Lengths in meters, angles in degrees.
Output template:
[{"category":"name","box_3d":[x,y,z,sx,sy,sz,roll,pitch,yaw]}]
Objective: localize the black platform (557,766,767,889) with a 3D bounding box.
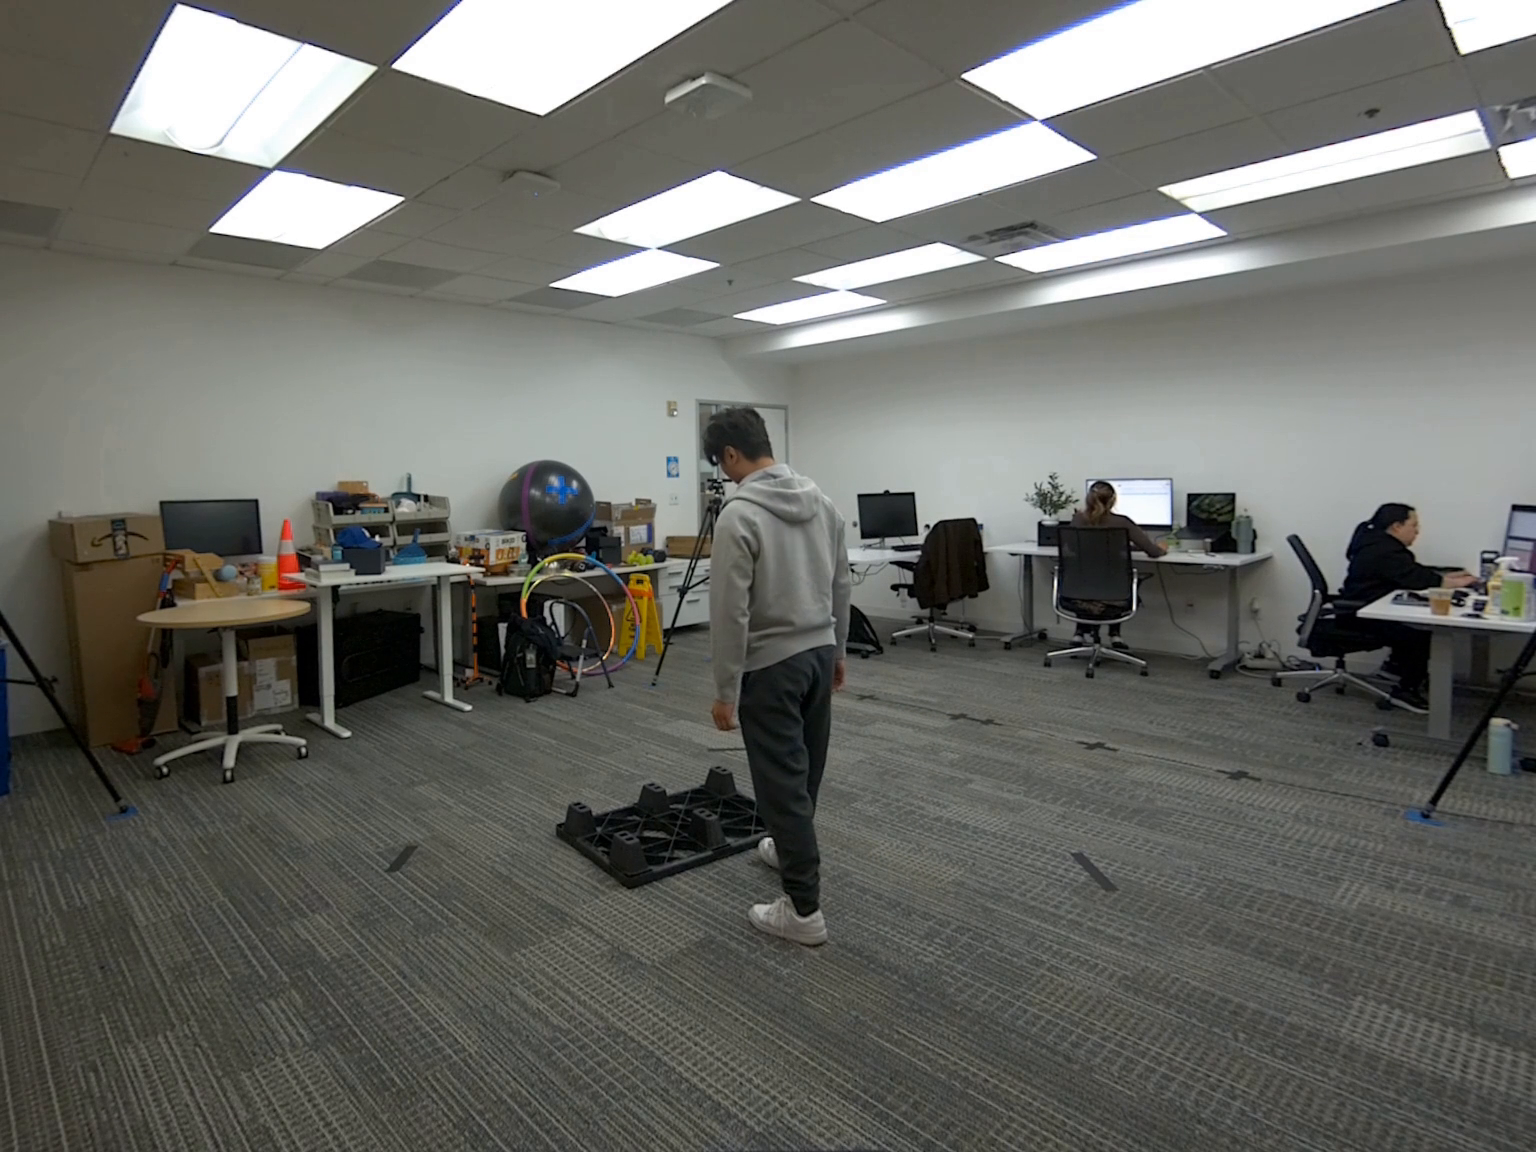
[{"category":"black platform","box_3d":[-0.352,0.953,3.394,0.785,0.143,0.624,-5,8,-38]}]
